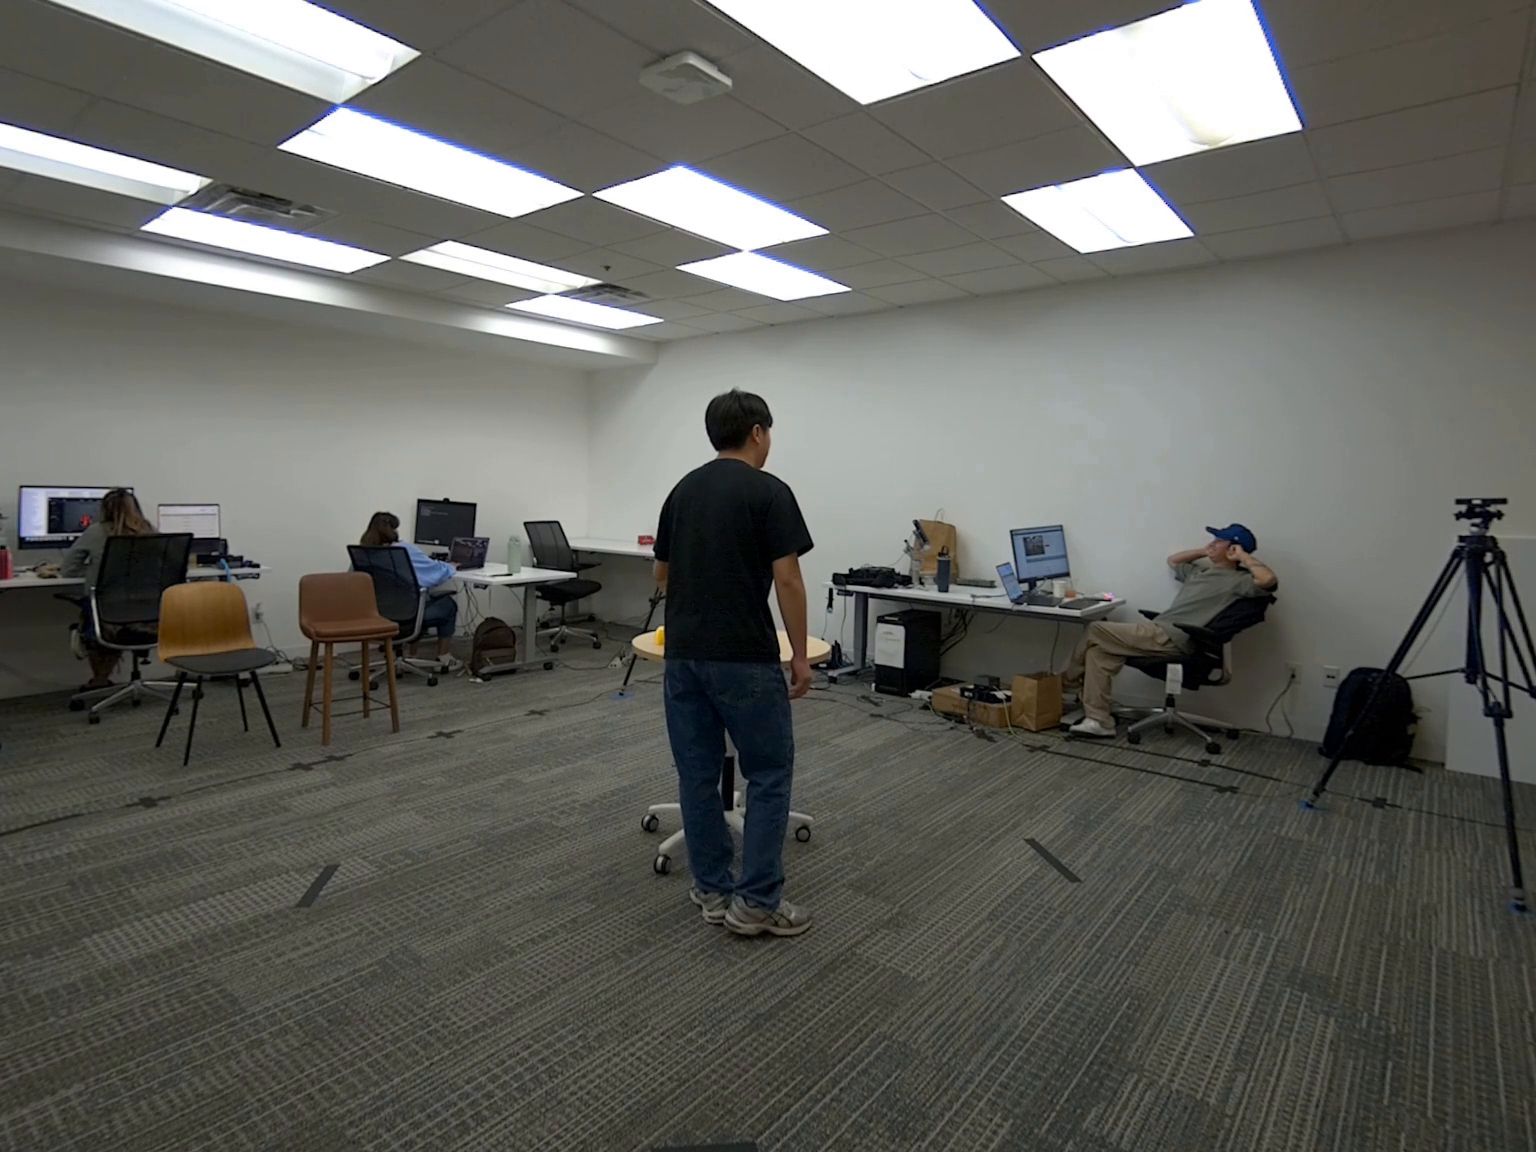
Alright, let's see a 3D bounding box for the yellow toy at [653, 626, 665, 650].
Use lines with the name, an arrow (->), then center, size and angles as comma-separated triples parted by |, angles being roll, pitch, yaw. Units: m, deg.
yellow toy -> -0.335, 0.138, 3.274 | 0.209, 0.230, 0.190 | 1, 3, 17
